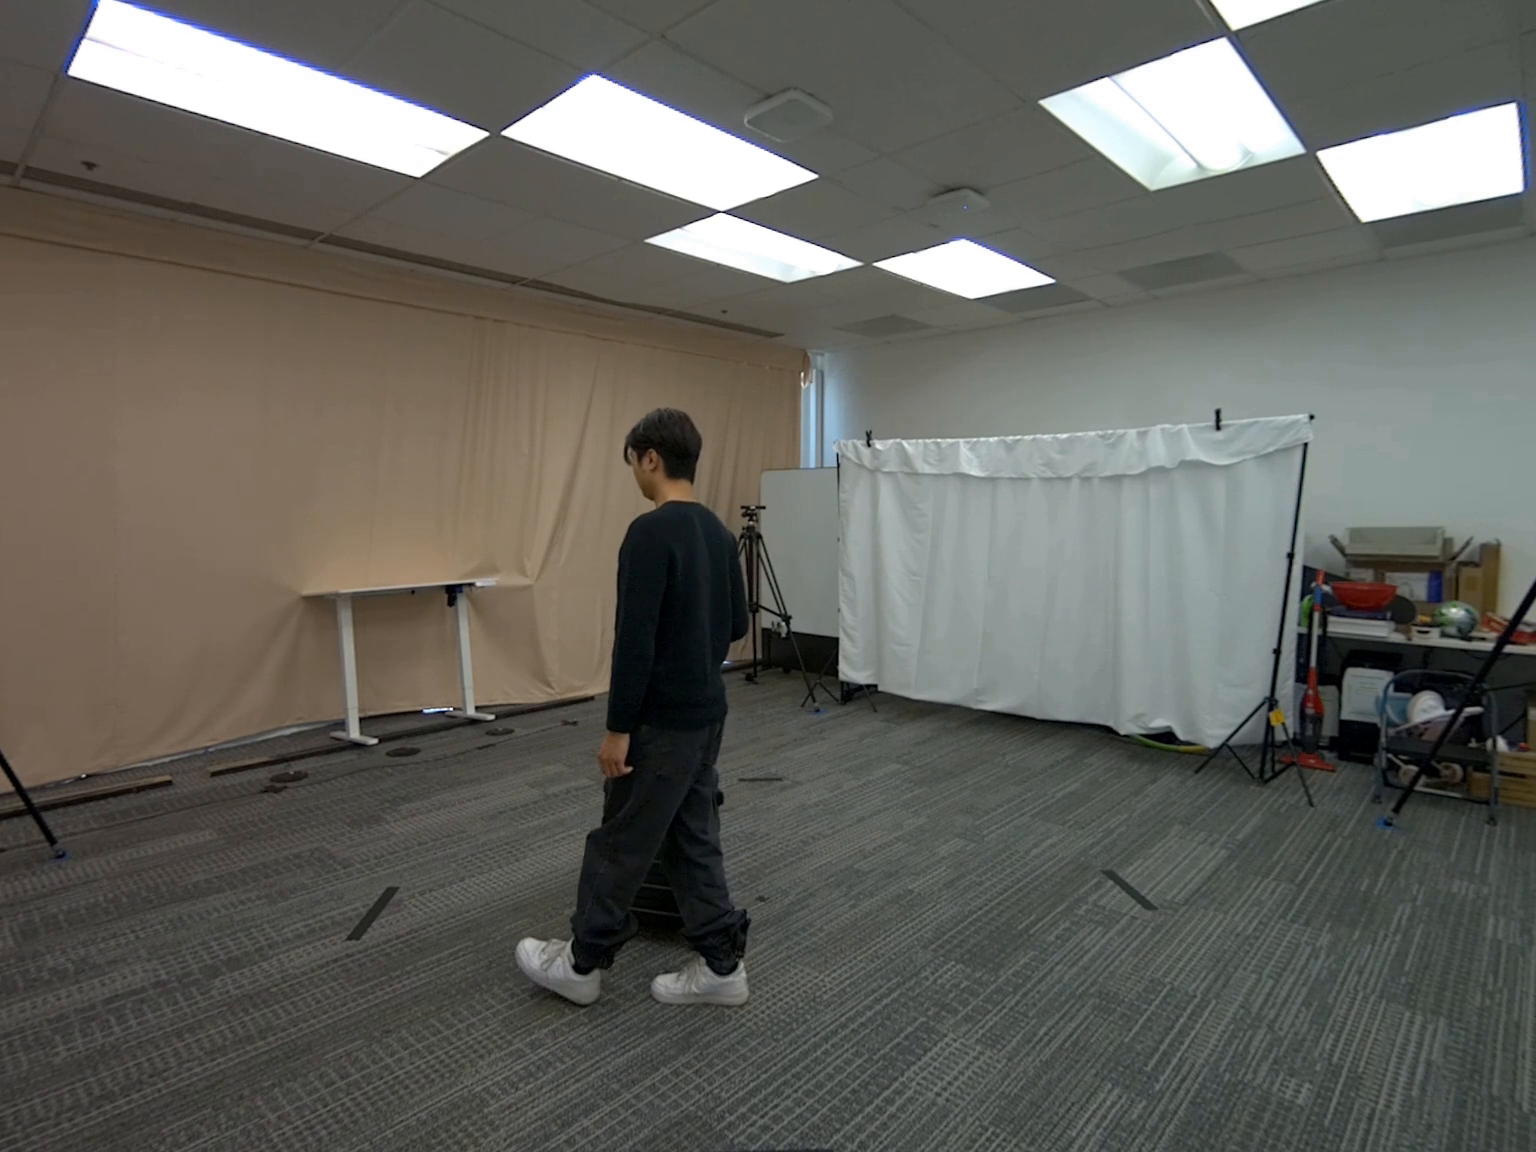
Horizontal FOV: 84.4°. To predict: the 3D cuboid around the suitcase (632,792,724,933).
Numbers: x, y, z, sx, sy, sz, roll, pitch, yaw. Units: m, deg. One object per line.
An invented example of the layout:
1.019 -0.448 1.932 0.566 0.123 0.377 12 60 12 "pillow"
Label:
-0.354 0.687 2.792 0.391 0.979 0.252 -1 -2 16 "suitcase"
